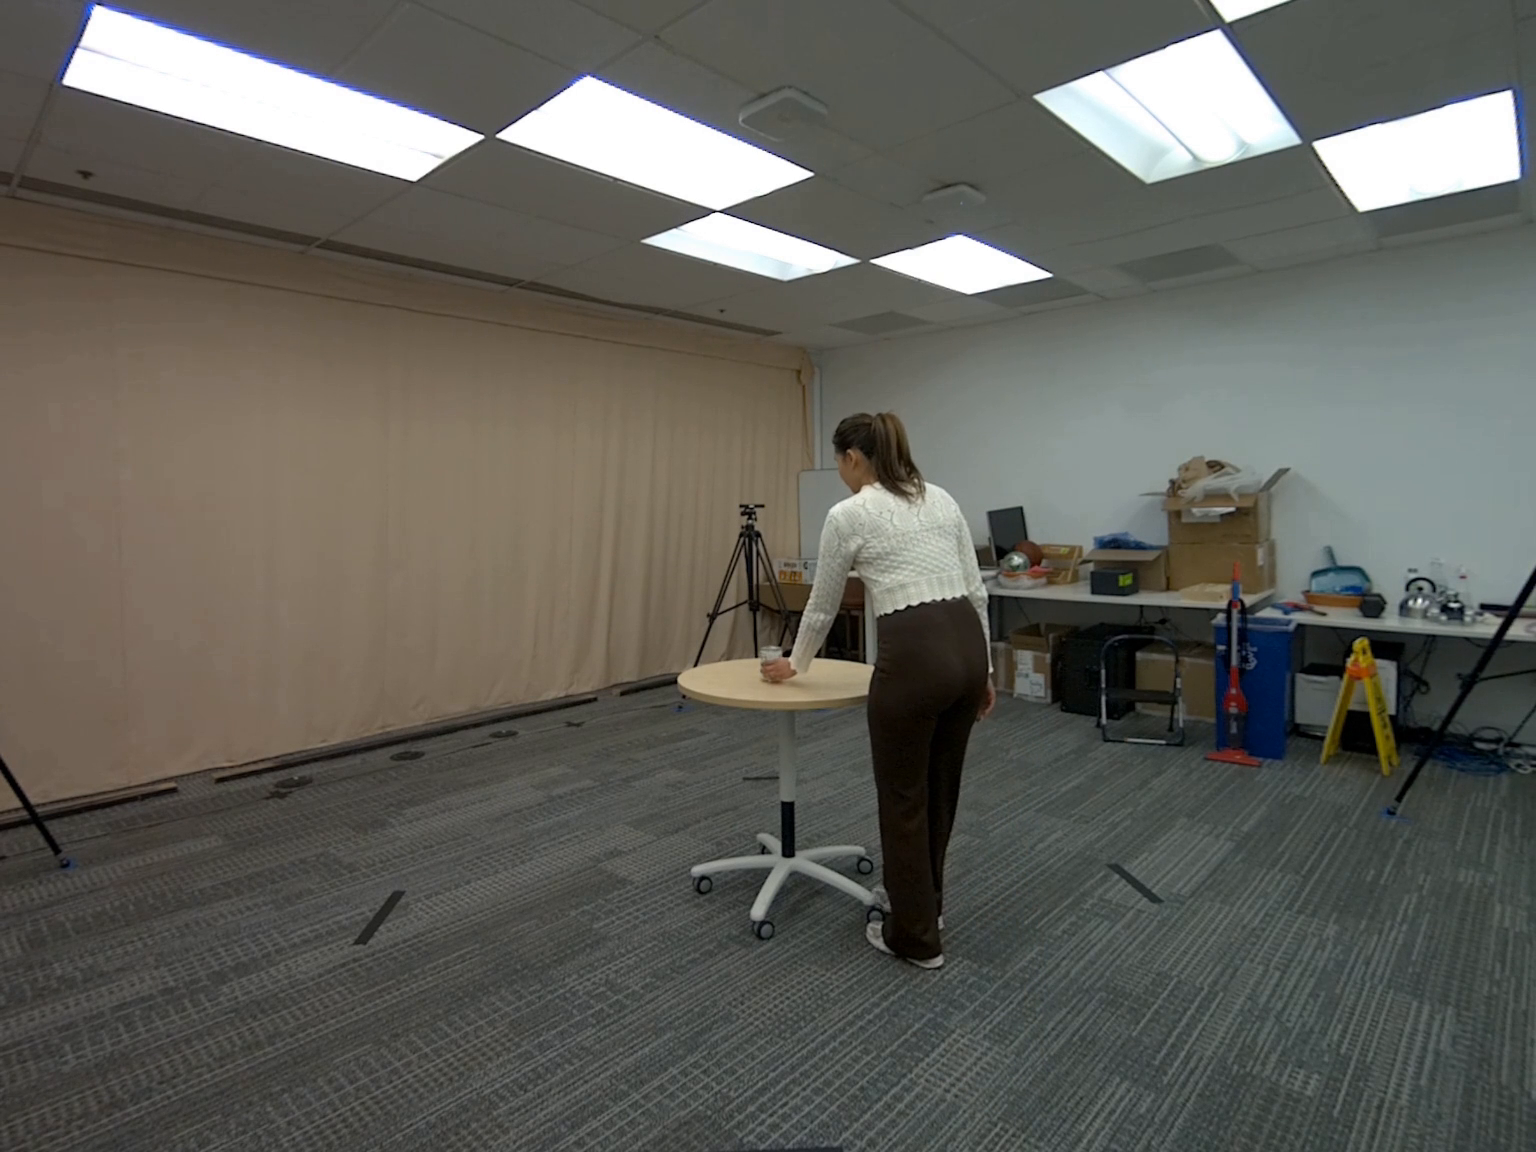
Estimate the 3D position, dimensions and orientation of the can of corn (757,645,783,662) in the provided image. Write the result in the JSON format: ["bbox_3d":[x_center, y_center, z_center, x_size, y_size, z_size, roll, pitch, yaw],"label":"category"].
[{"bbox_3d":[0.016,0.305,2.906,0.074,0.111,0.074,-2,5,-2],"label":"can of corn"}]
